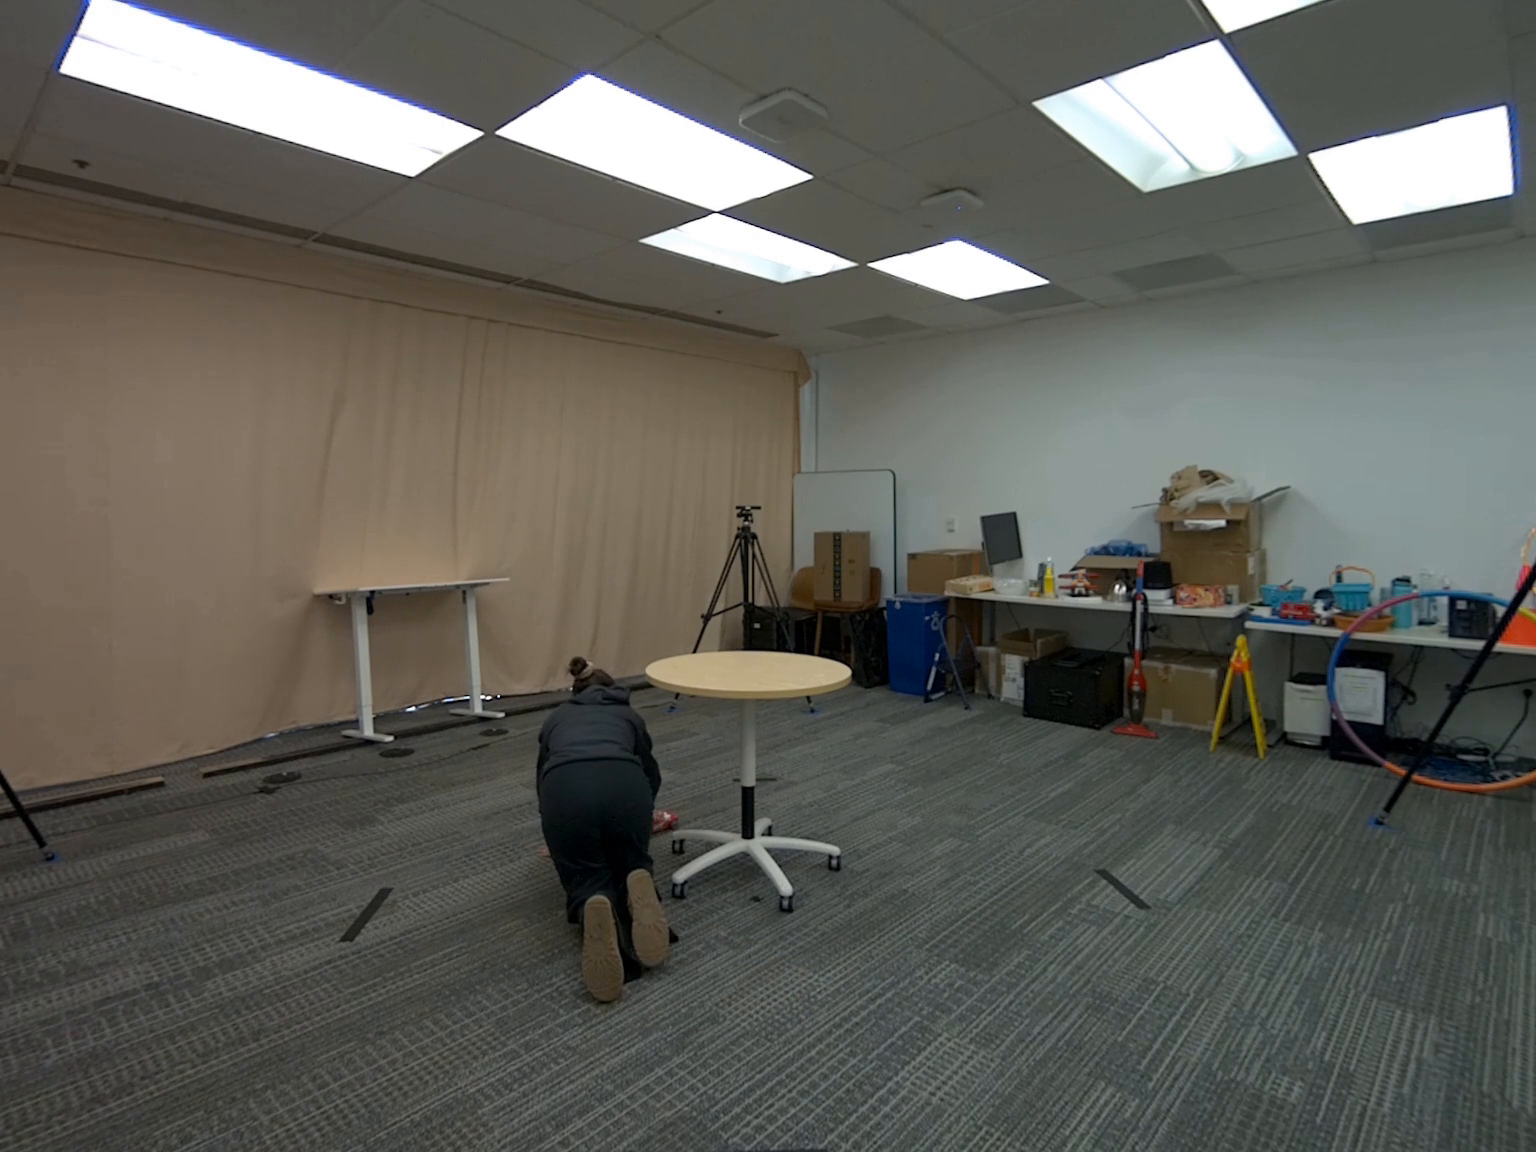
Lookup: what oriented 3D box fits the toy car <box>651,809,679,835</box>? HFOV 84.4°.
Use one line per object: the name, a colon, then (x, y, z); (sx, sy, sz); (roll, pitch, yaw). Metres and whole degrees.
toy car: (-0.489, 1.068, 3.624); (0.246, 0.083, 0.134); (8, -1, -38)
